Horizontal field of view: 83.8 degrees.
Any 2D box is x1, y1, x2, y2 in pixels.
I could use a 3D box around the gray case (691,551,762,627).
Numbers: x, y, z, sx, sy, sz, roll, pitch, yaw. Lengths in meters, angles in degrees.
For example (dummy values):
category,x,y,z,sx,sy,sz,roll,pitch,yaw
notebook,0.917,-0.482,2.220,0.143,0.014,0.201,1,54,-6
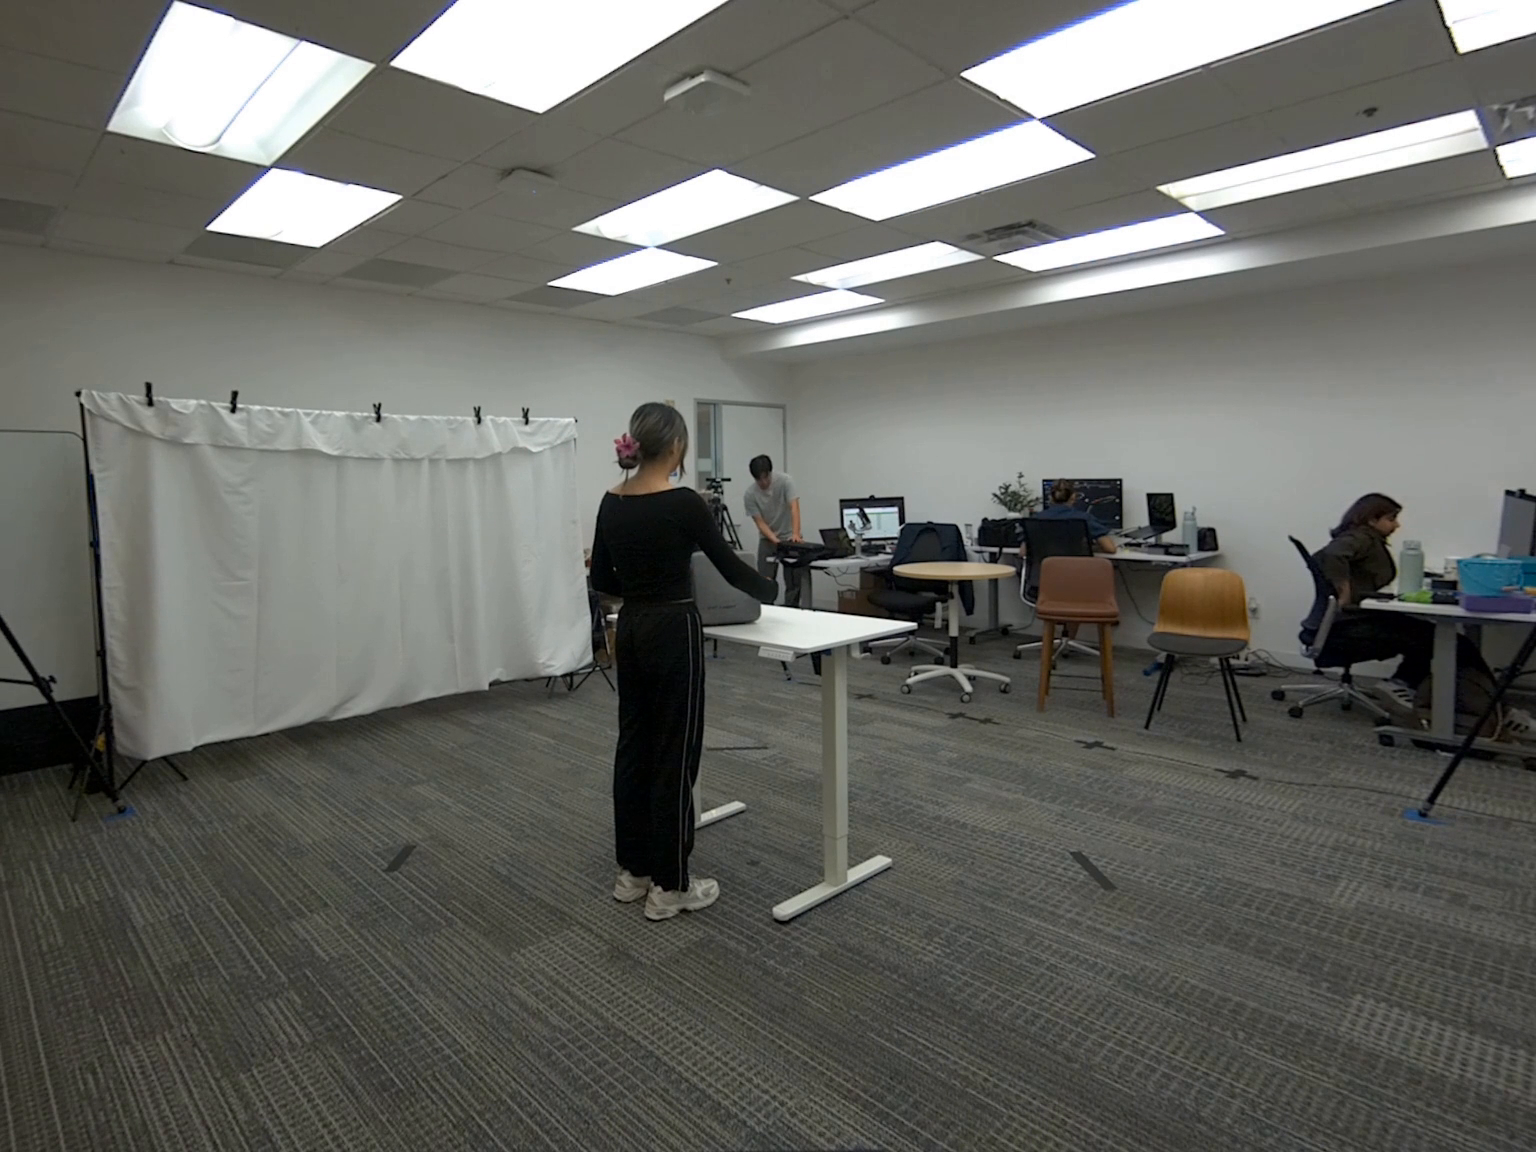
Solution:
category,x,y,z,sx,sy,sz,roll,pitch,yaw
gray case,-0.158,0.038,3.031,0.253,0.262,0.105,-3,-6,-16
